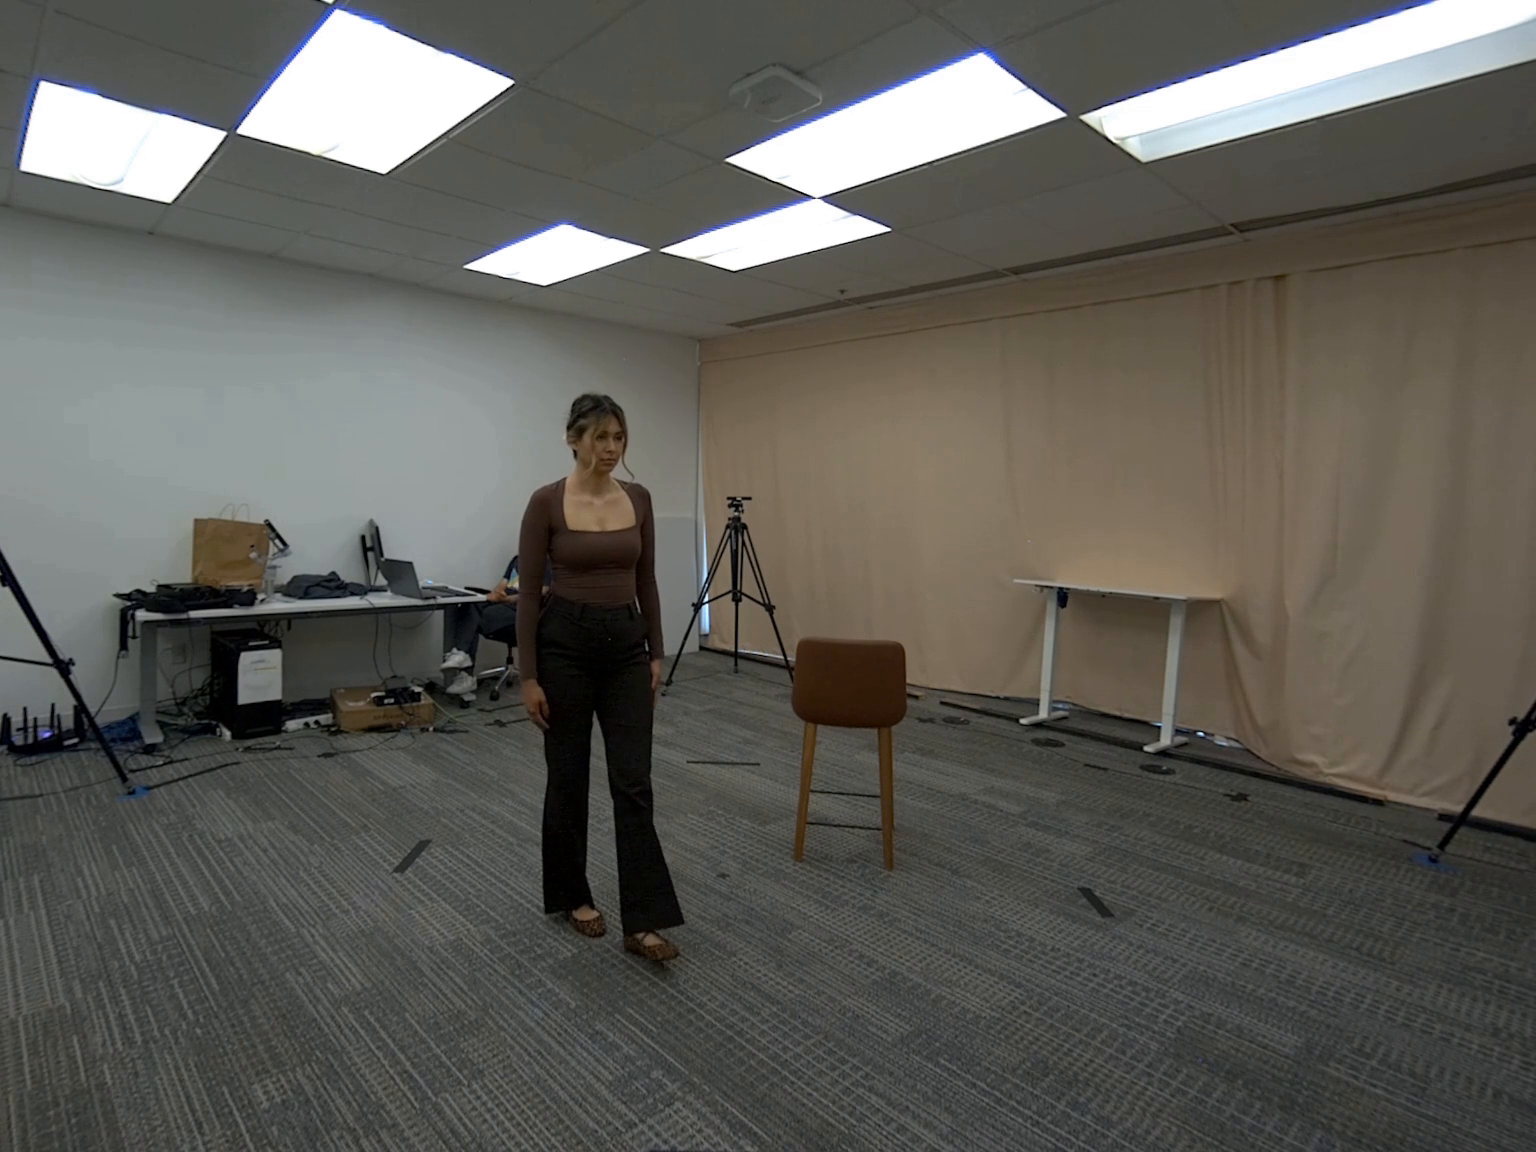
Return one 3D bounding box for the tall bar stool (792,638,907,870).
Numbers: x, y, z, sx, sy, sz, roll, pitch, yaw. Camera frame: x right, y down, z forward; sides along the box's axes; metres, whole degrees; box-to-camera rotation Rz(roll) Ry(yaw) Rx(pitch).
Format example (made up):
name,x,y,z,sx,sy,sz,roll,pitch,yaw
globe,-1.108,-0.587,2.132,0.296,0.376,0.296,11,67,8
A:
name,x,y,z,sx,sy,sz,roll,pitch,yaw
tall bar stool,0.316,0.656,3.406,0.460,0.887,0.465,2,4,8
